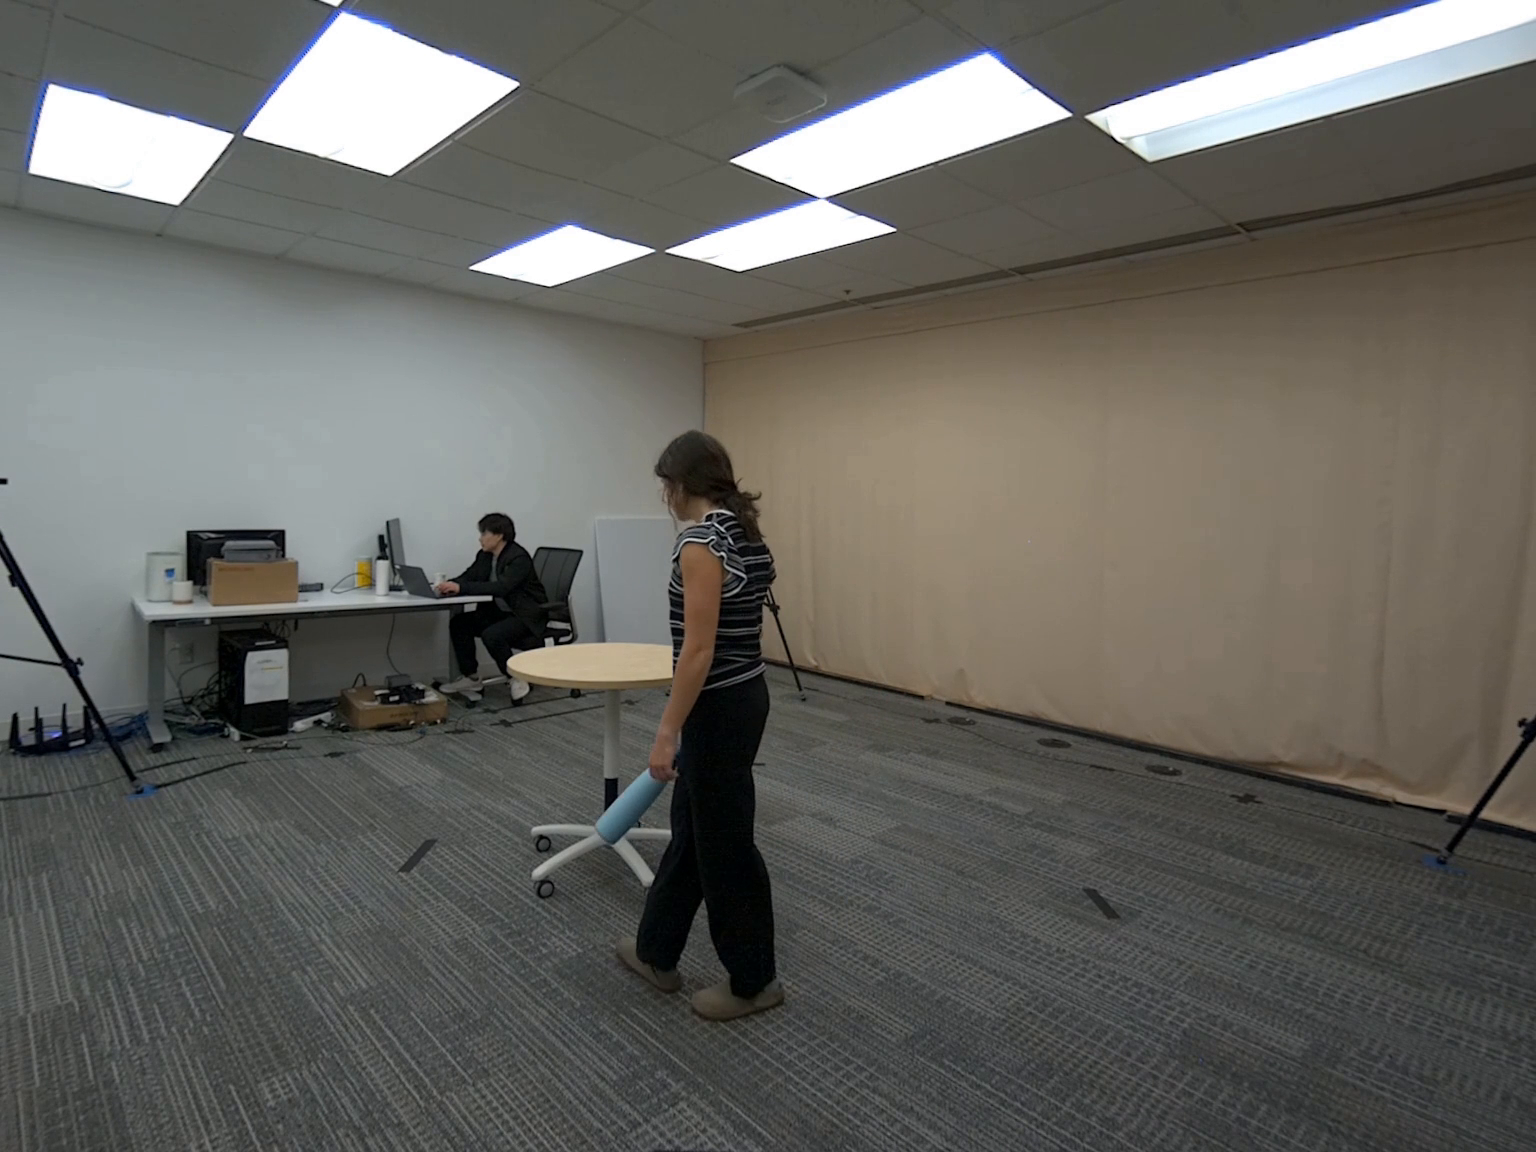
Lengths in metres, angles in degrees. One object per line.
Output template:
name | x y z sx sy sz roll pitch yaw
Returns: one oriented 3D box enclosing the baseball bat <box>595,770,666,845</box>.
baseball bat | -0.319 0.586 2.508 0.089 0.543 0.089 44 -4 2
